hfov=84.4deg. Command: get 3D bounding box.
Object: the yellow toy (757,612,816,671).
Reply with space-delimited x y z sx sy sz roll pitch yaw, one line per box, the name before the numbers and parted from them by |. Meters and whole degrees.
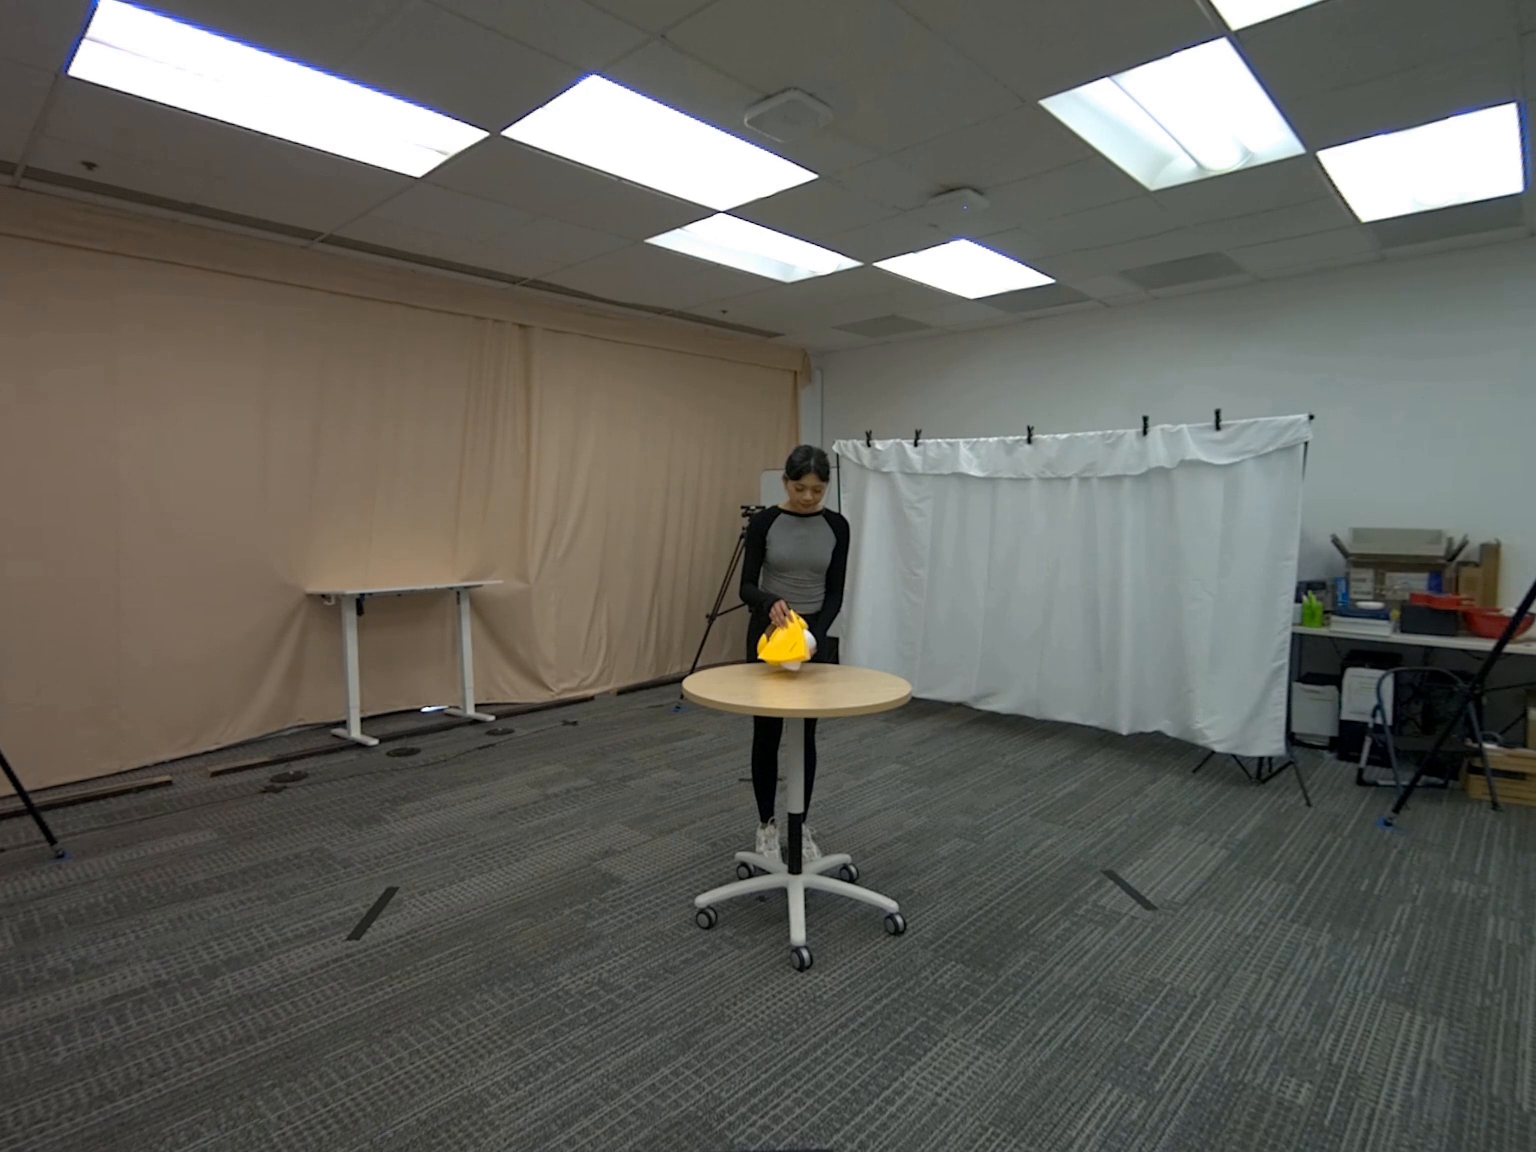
yellow toy | 0.100 0.255 2.942 0.186 0.205 0.239 36 -2 -34
